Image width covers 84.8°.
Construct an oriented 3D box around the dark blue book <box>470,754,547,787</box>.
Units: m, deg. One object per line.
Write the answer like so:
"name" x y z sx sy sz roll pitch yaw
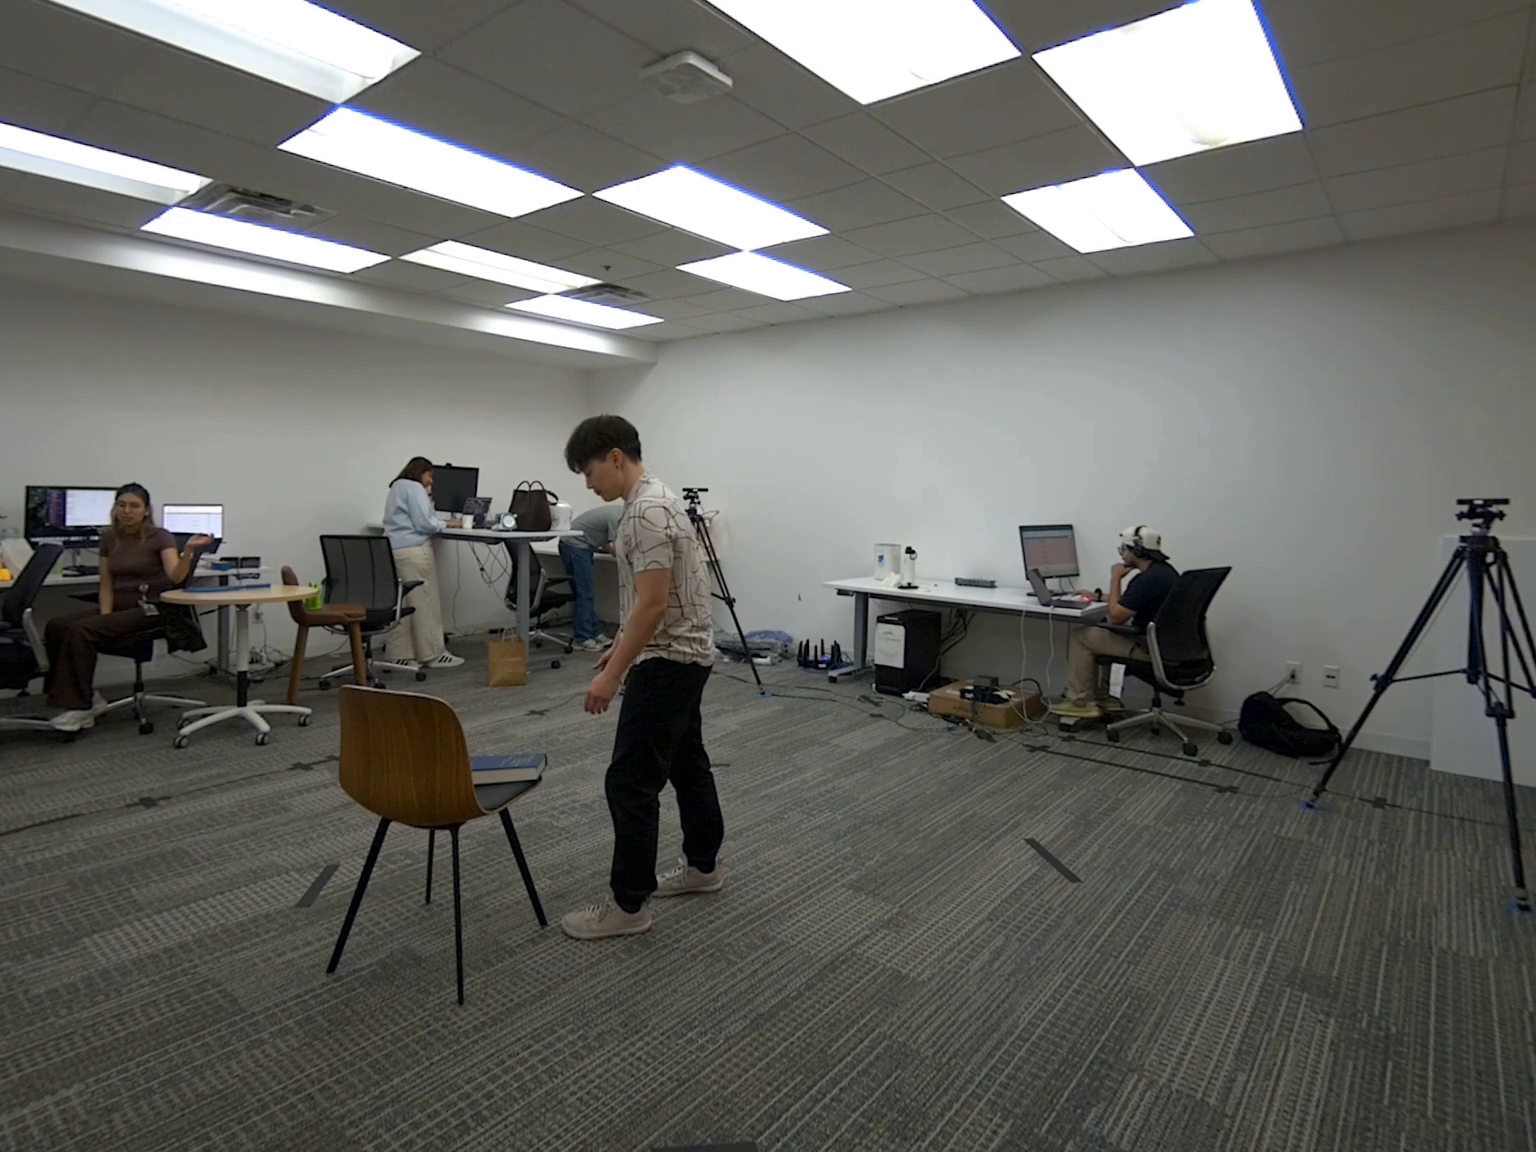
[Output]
"dark blue book" -0.838 0.596 2.653 0.245 0.045 0.164 -2 3 -2
